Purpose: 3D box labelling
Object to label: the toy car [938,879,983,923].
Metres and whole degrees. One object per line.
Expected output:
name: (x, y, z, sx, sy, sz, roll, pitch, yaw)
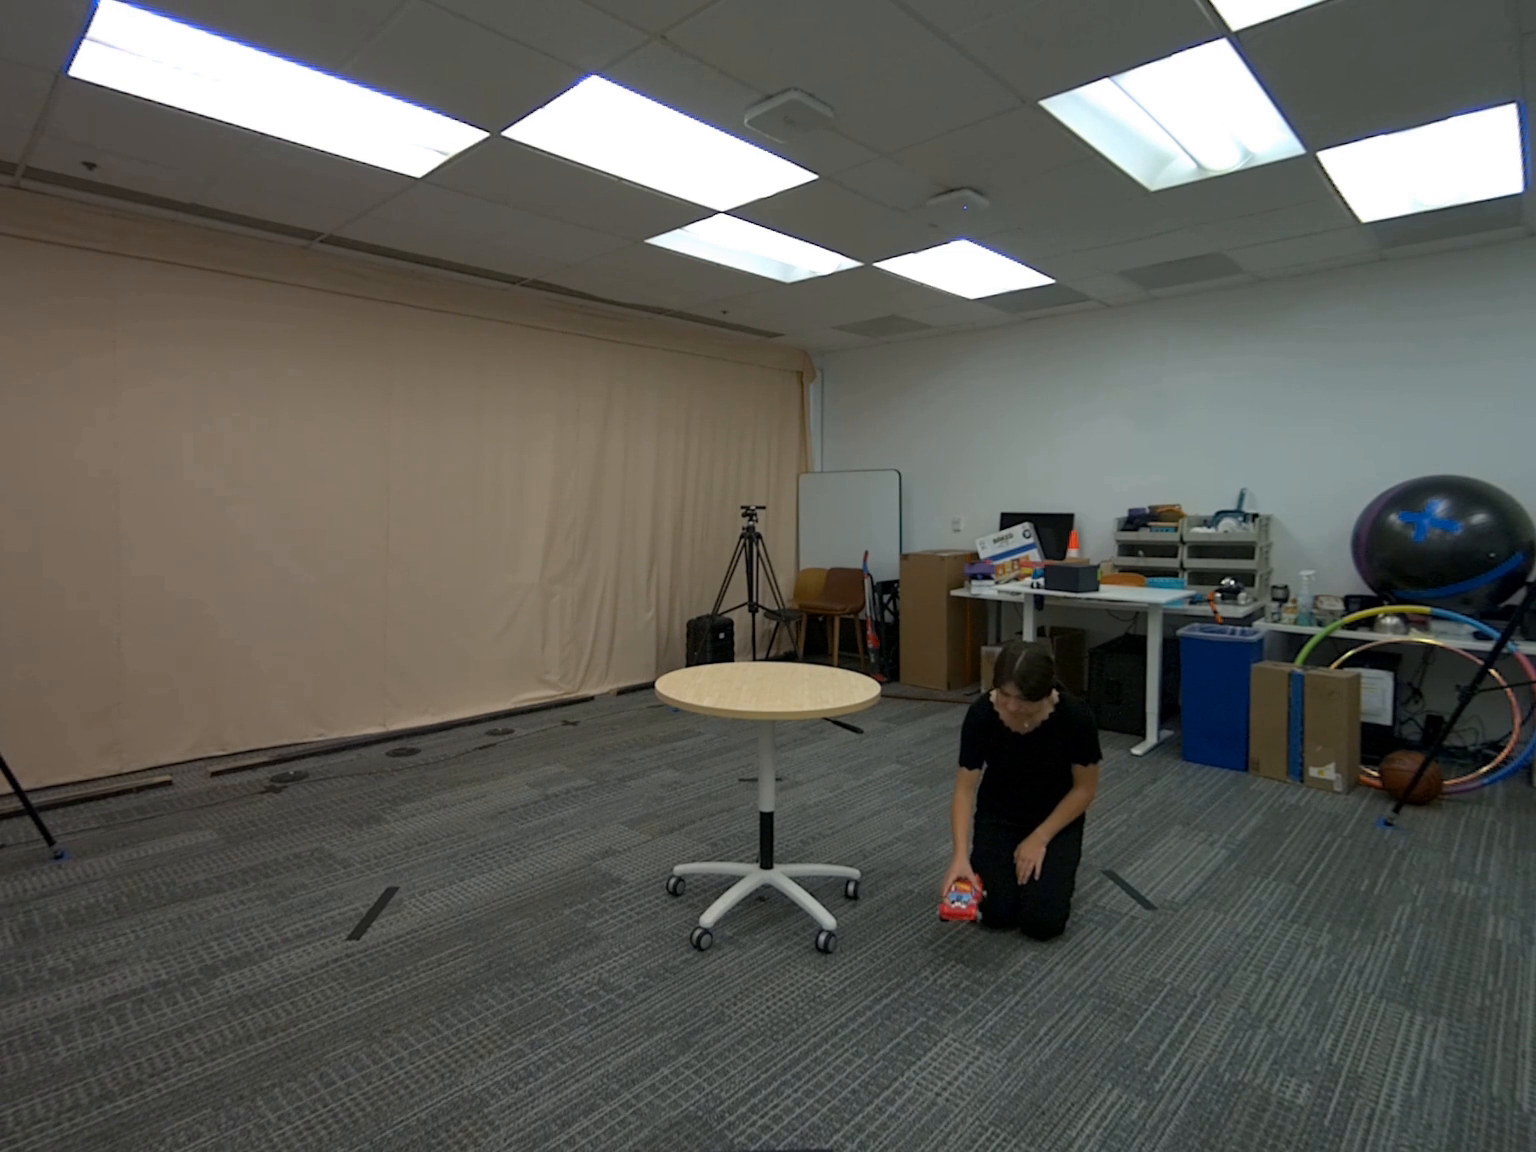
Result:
toy car: (0.608, 0.993, 2.593, 0.133, 0.082, 0.251, -7, 12, 23)
